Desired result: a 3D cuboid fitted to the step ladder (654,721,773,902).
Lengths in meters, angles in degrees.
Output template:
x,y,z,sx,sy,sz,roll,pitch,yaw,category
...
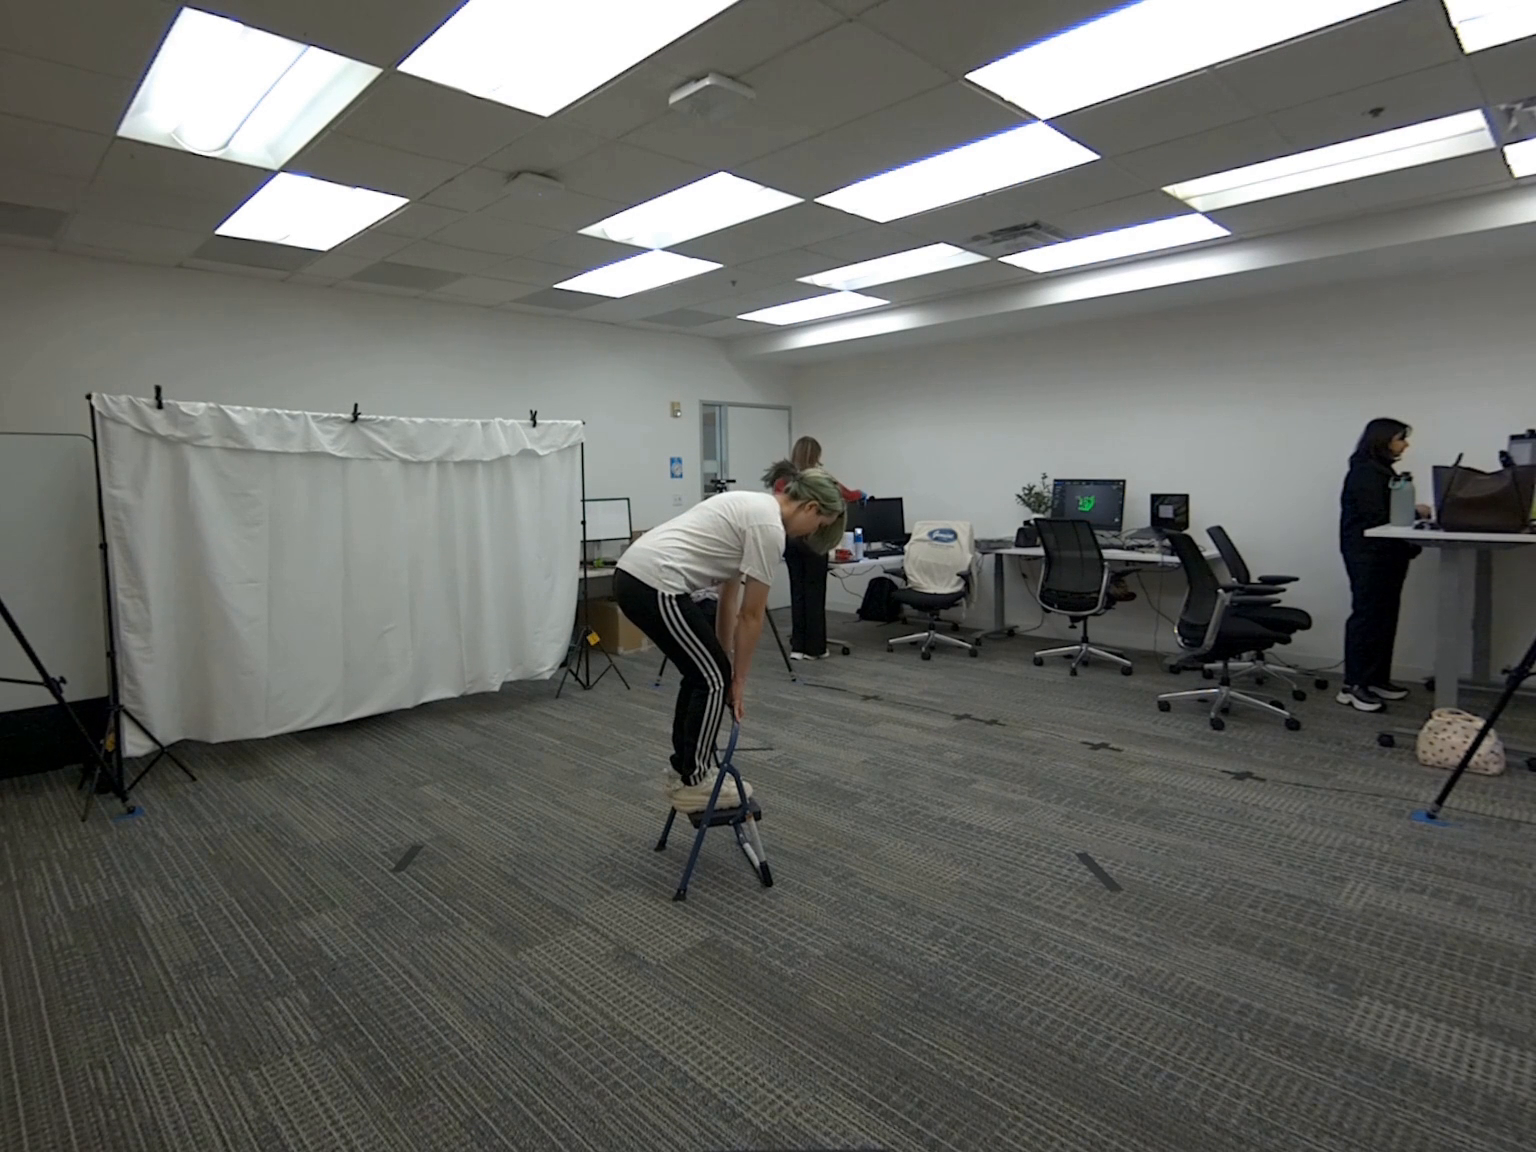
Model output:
x,y,z,sx,sy,sz,roll,pitch,yaw,category
-0.205,0.757,3.071,0.344,0.604,0.438,-2,5,-16,step ladder
